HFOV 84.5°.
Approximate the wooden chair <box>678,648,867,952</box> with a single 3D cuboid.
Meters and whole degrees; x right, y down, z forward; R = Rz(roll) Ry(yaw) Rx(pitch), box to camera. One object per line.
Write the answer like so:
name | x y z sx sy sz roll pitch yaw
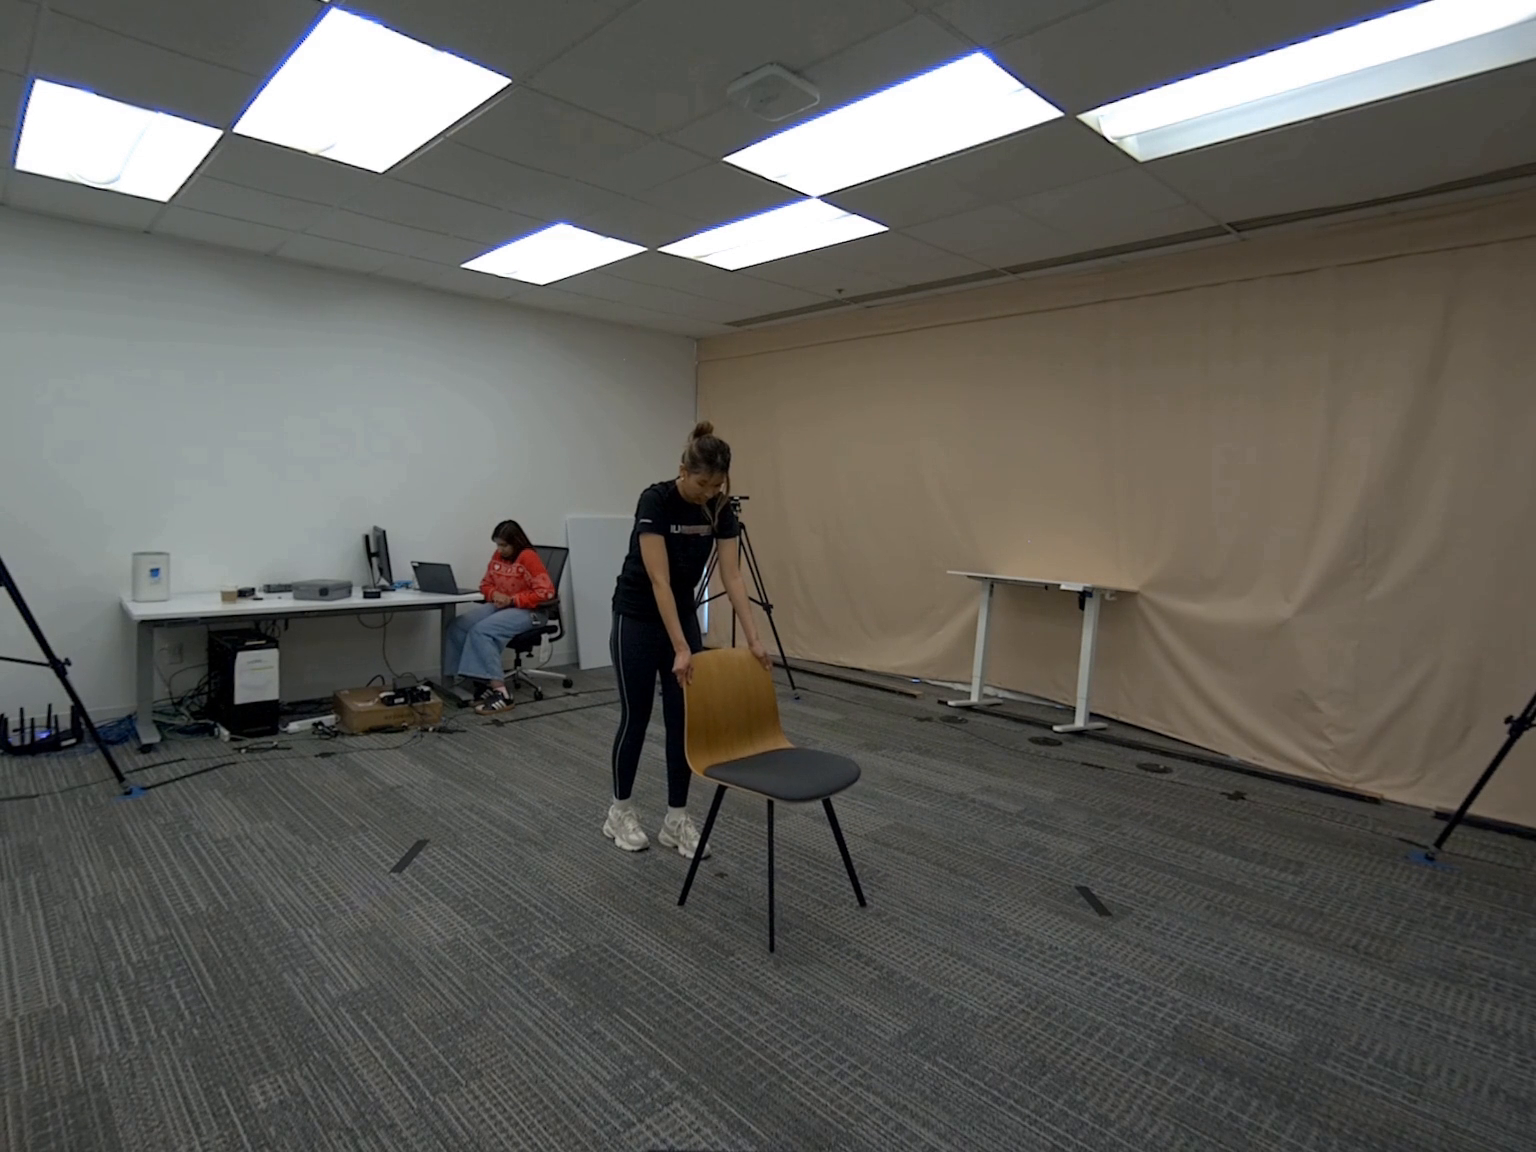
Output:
wooden chair | 0.008 0.695 2.827 0.467 0.879 0.534 -2 -3 -44
